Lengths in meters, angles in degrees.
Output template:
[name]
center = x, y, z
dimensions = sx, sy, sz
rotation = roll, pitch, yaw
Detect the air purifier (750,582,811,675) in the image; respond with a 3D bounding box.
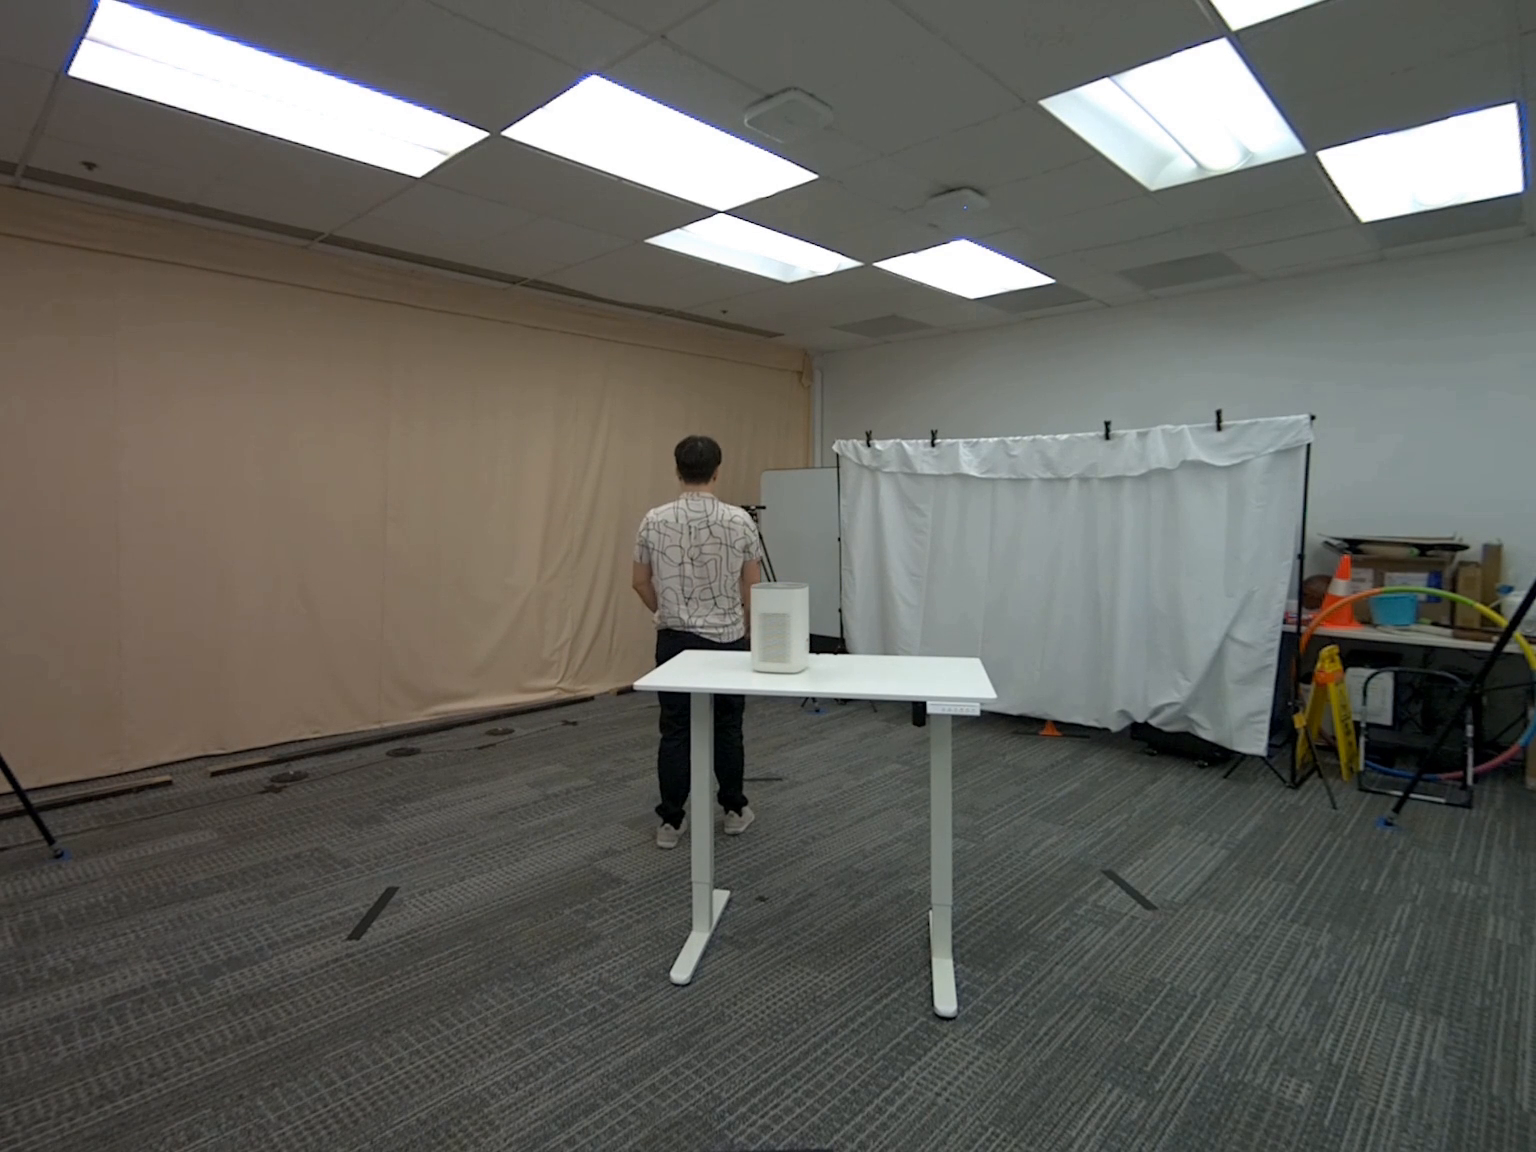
[air purifier]
center = 0.049, 0.163, 2.608
dimensions = 0.173, 0.265, 0.170
rotation = 0, 3, 7
